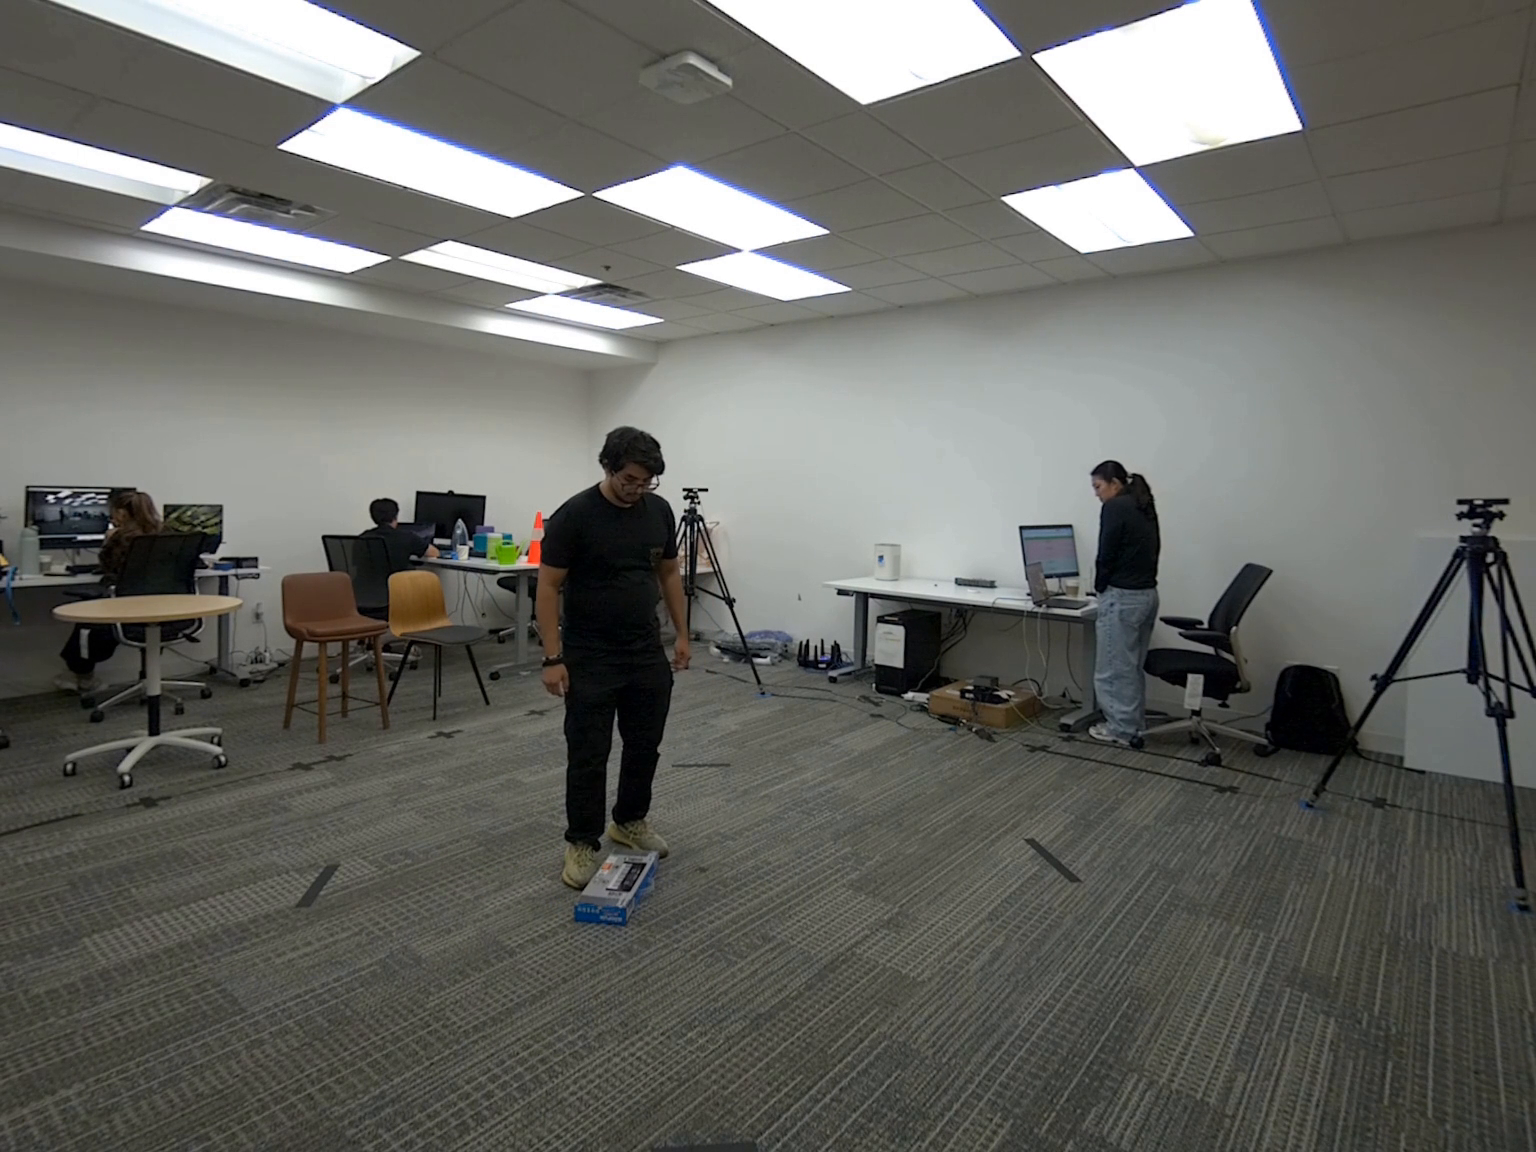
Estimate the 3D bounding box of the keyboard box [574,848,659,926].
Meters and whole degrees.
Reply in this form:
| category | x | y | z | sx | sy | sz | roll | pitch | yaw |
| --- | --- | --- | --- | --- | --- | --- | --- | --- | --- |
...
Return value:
| category | x | y | z | sx | sy | sz | roll | pitch | yaw |
| --- | --- | --- | --- | --- | --- | --- | --- | --- | --- |
| keyboard box | -0.523 | 1.054 | 2.917 | 0.178 | 0.059 | 0.434 | 1 | 5 | 7 |
